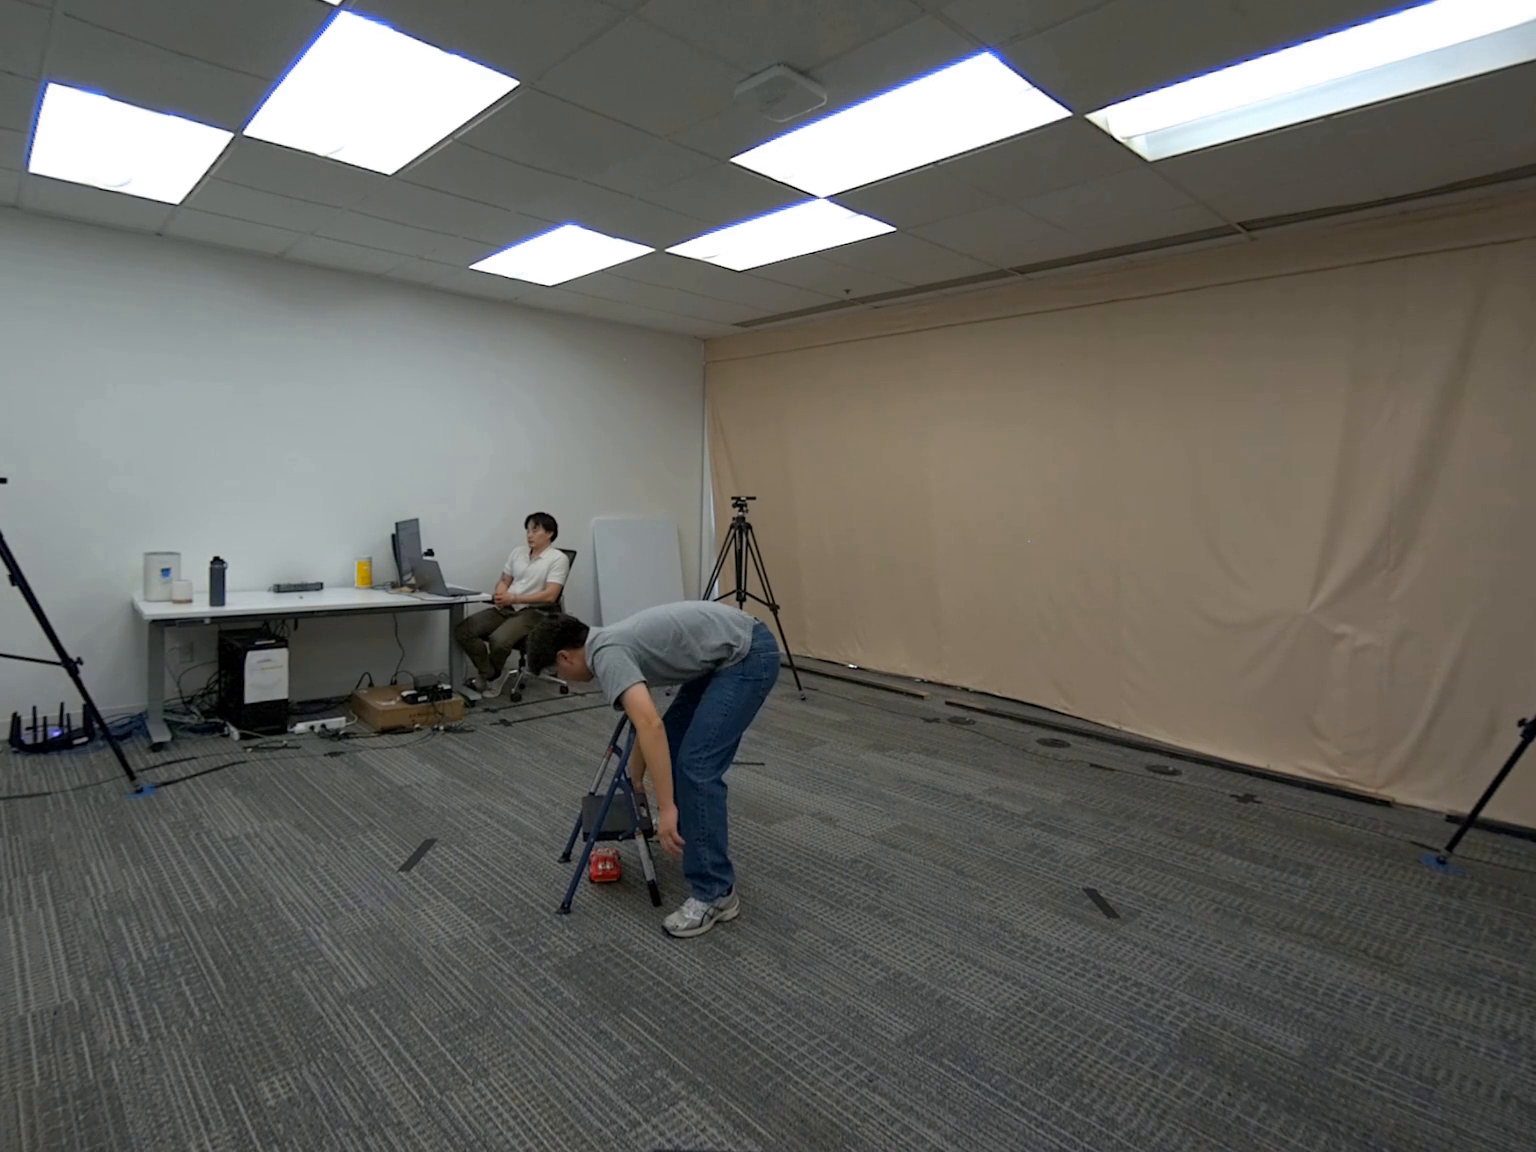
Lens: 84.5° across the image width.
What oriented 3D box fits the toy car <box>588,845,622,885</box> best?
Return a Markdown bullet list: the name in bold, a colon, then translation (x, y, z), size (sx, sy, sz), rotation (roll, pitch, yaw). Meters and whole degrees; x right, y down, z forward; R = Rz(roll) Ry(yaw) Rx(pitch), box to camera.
- **toy car**: translation (-0.610, 1.069, 3.086), size (0.129, 0.084, 0.255), rotation (1, -7, -13)
